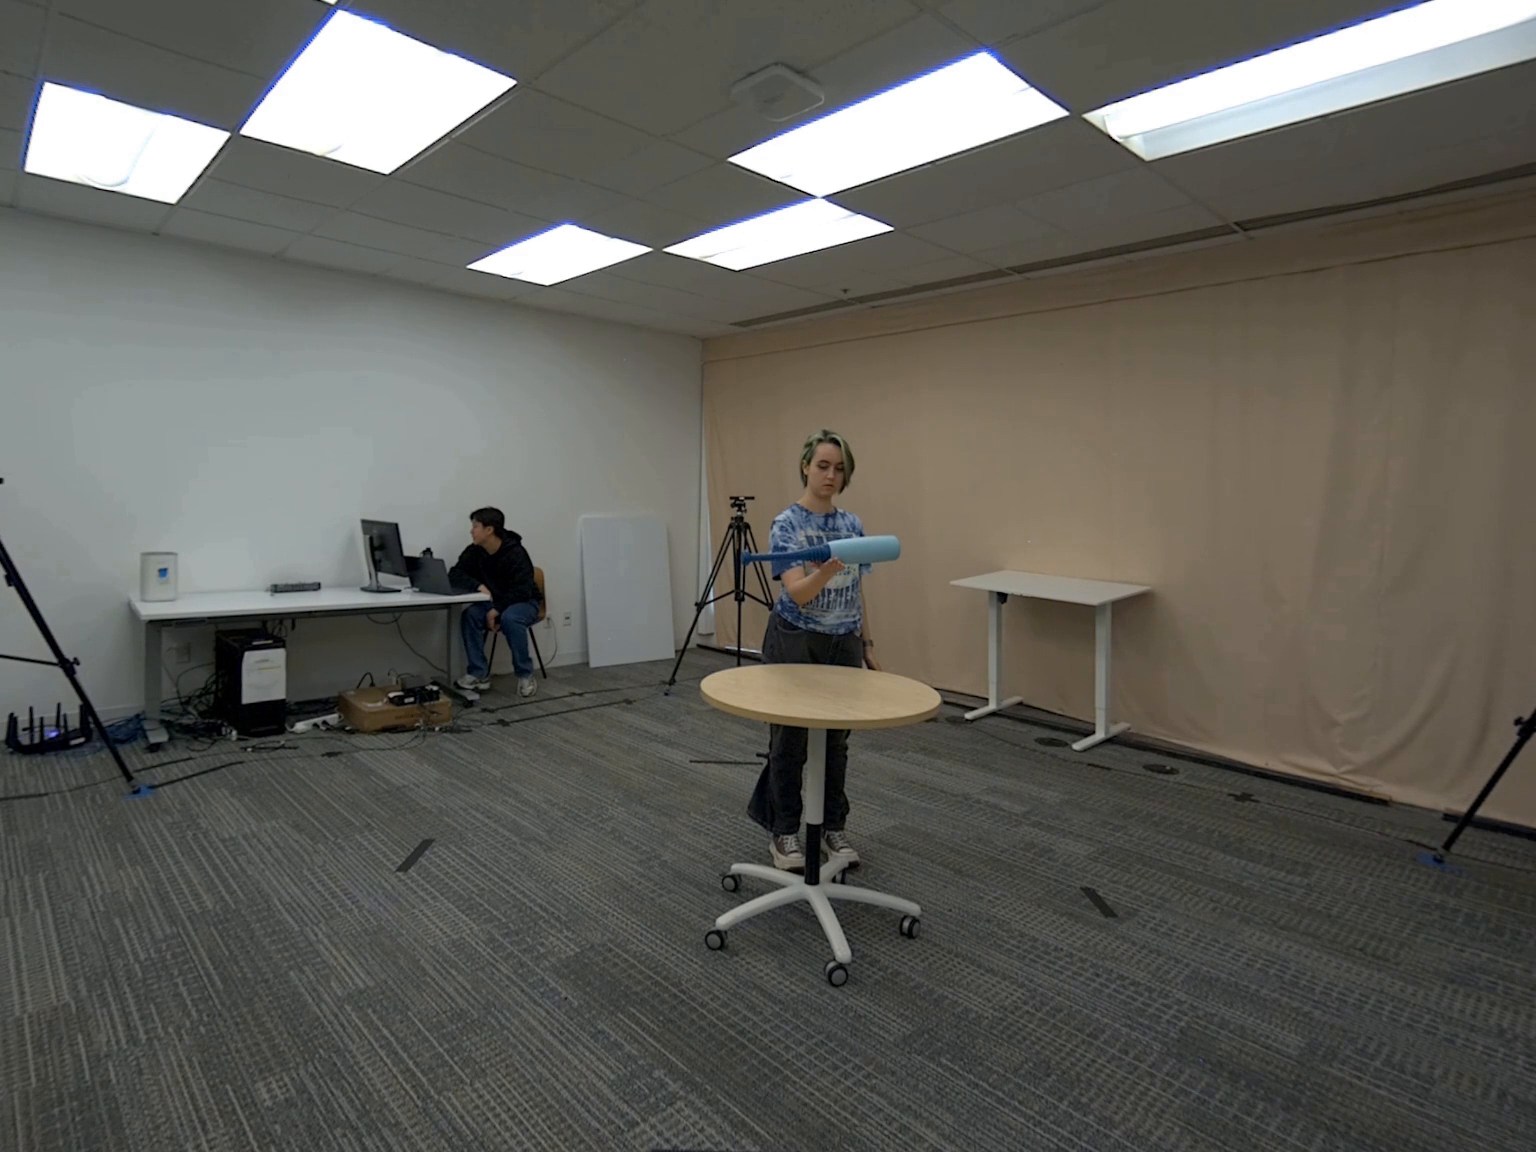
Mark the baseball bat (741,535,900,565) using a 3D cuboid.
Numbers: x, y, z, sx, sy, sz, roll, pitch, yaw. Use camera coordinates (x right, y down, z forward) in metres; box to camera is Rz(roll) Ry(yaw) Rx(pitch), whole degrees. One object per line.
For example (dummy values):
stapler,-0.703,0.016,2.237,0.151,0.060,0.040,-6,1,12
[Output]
baseball bat,0.168,-0.072,2.762,0.538,0.089,0.090,-4,5,-13
